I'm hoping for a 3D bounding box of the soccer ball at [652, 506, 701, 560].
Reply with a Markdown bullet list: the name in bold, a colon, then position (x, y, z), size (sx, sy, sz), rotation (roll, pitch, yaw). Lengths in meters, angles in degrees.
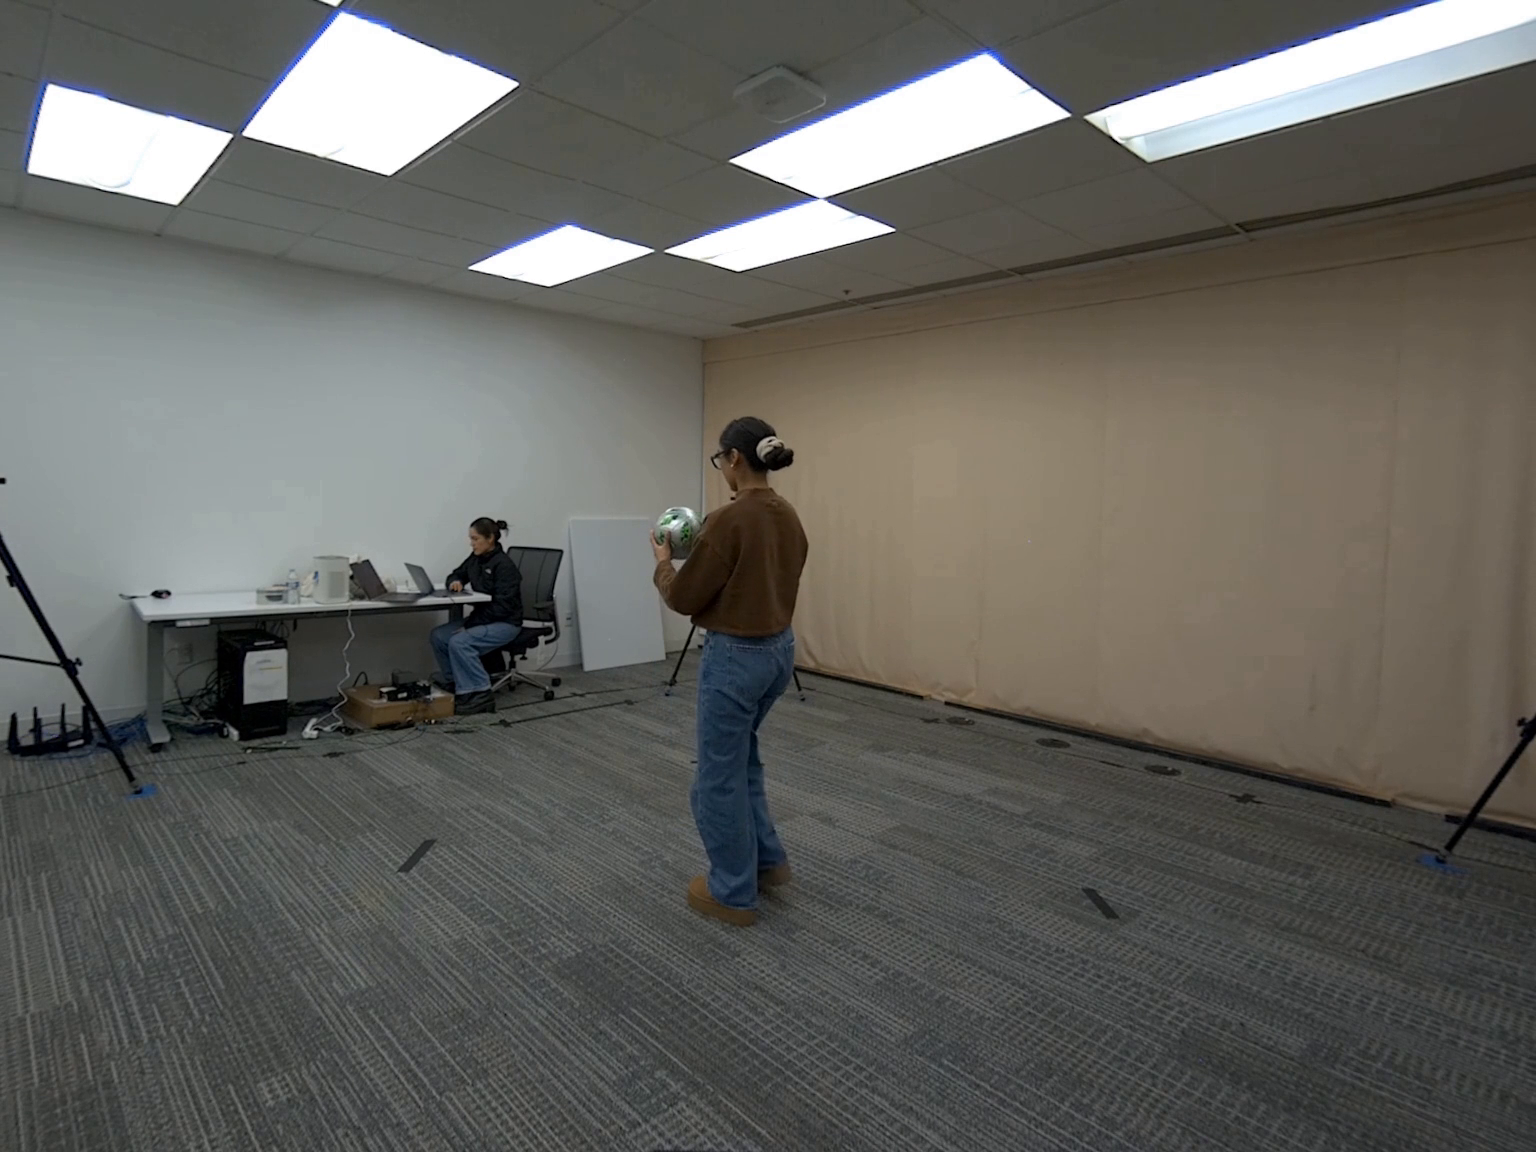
- **soccer ball**: position (-0.312, -0.144, 2.970), size (0.187, 0.187, 0.188), rotation (1, 4, -1)
